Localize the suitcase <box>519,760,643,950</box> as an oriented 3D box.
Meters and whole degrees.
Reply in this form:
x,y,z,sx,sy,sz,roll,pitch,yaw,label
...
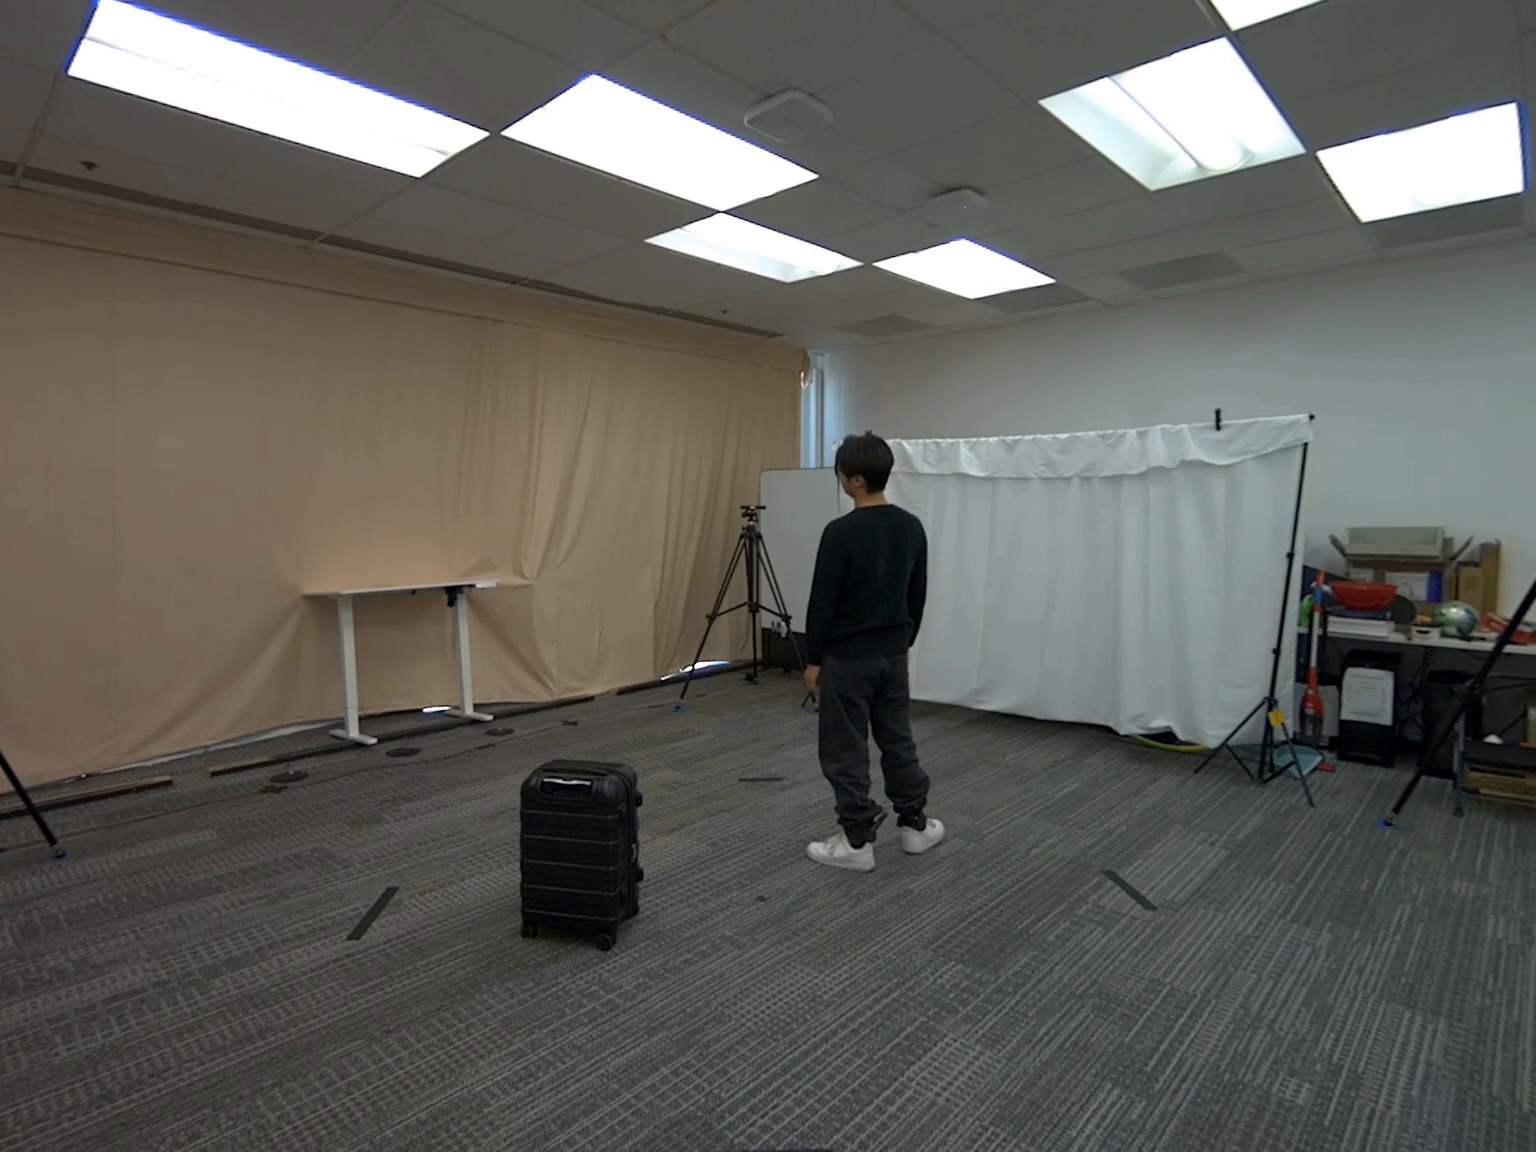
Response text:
x,y,z,sx,sy,sz,roll,pitch,yaw,label
-0.624,0.891,2.766,0.380,0.548,0.245,0,2,12,suitcase
